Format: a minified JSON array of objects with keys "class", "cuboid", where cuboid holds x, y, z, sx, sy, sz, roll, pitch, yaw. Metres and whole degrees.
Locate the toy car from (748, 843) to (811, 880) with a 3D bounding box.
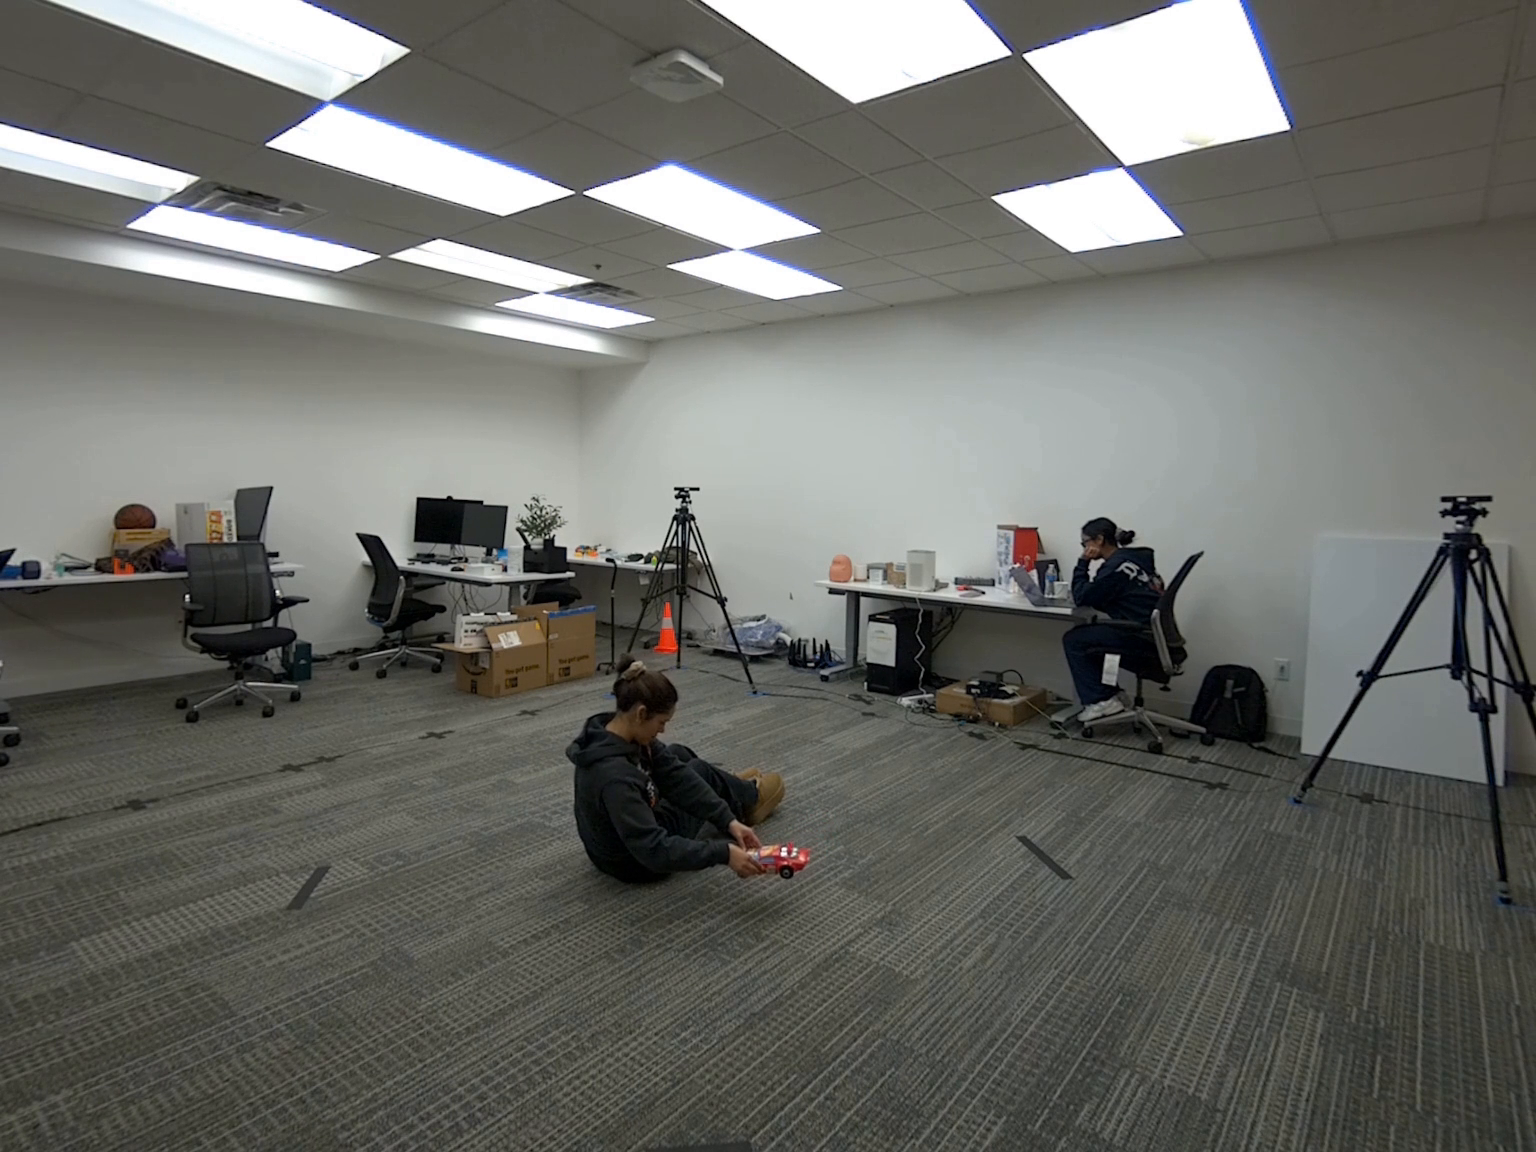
[{"class":"toy car","cuboid":[0.022,0.950,2.826,0.257,0.082,0.130,-15,10,14]}]
